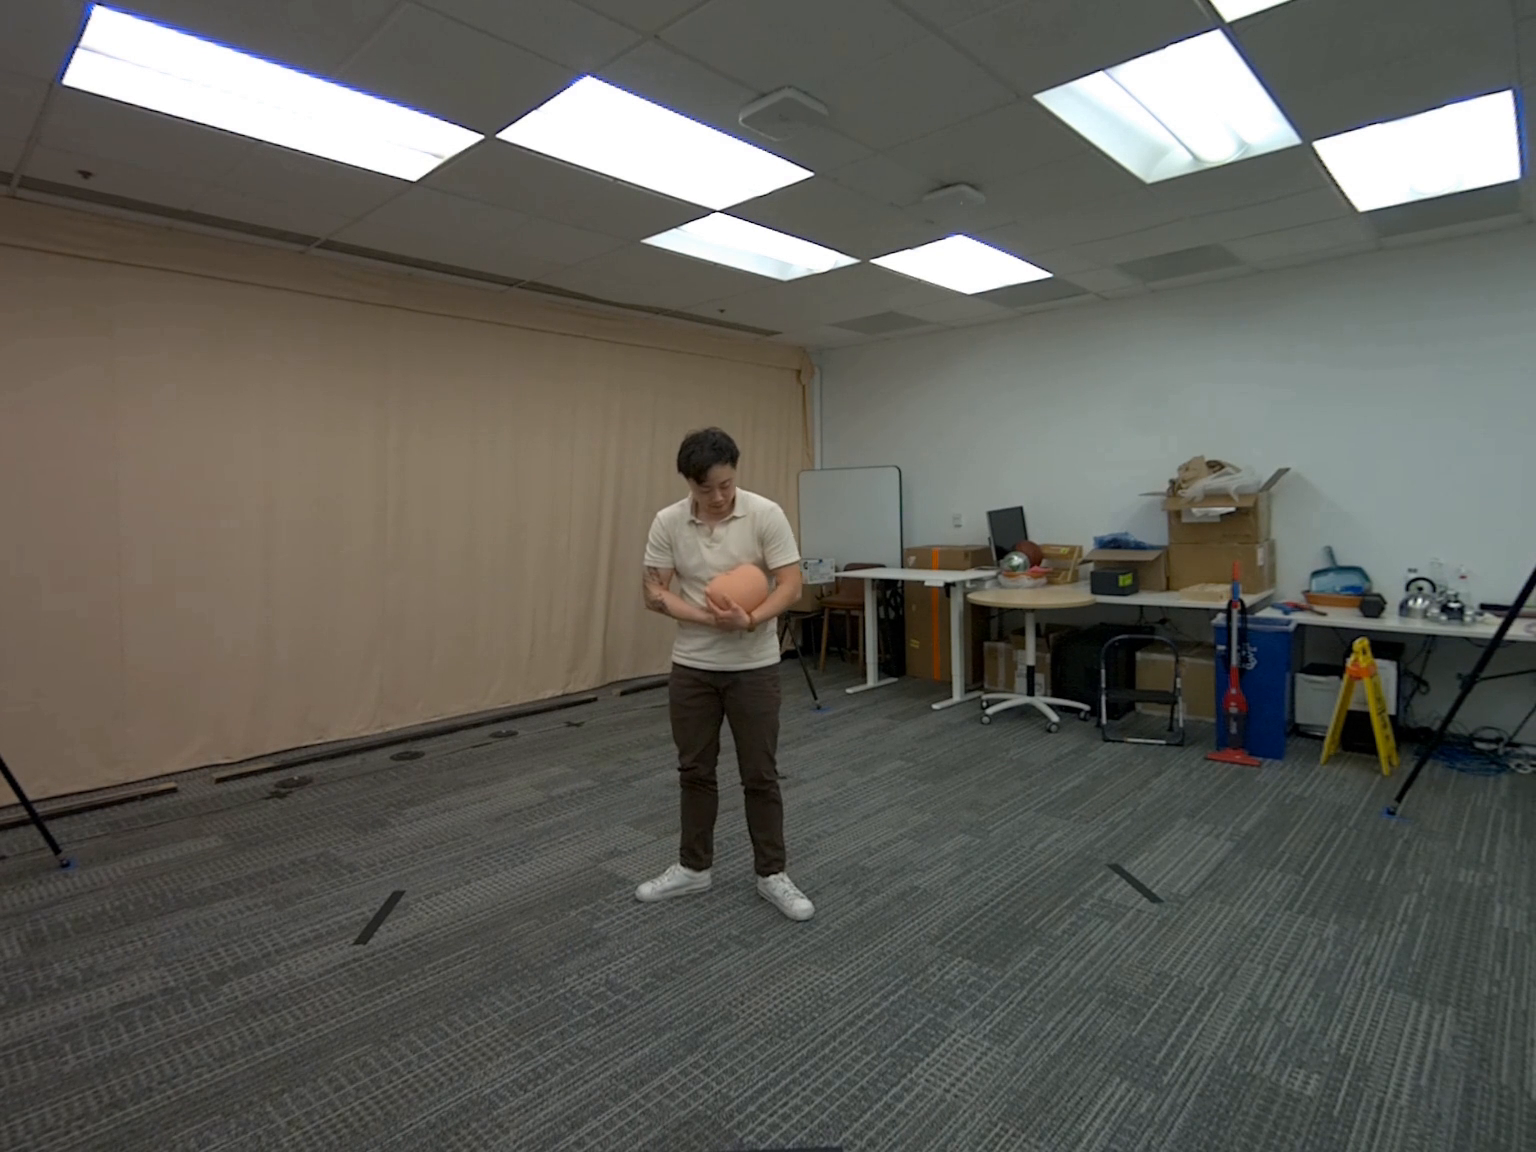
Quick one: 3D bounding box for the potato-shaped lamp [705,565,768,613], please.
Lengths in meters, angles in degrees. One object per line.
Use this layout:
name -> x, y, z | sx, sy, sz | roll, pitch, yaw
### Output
potato-shaped lamp -> -0.094, 0.048, 2.774 | 0.197, 0.175, 0.162 | -44, -15, -17
